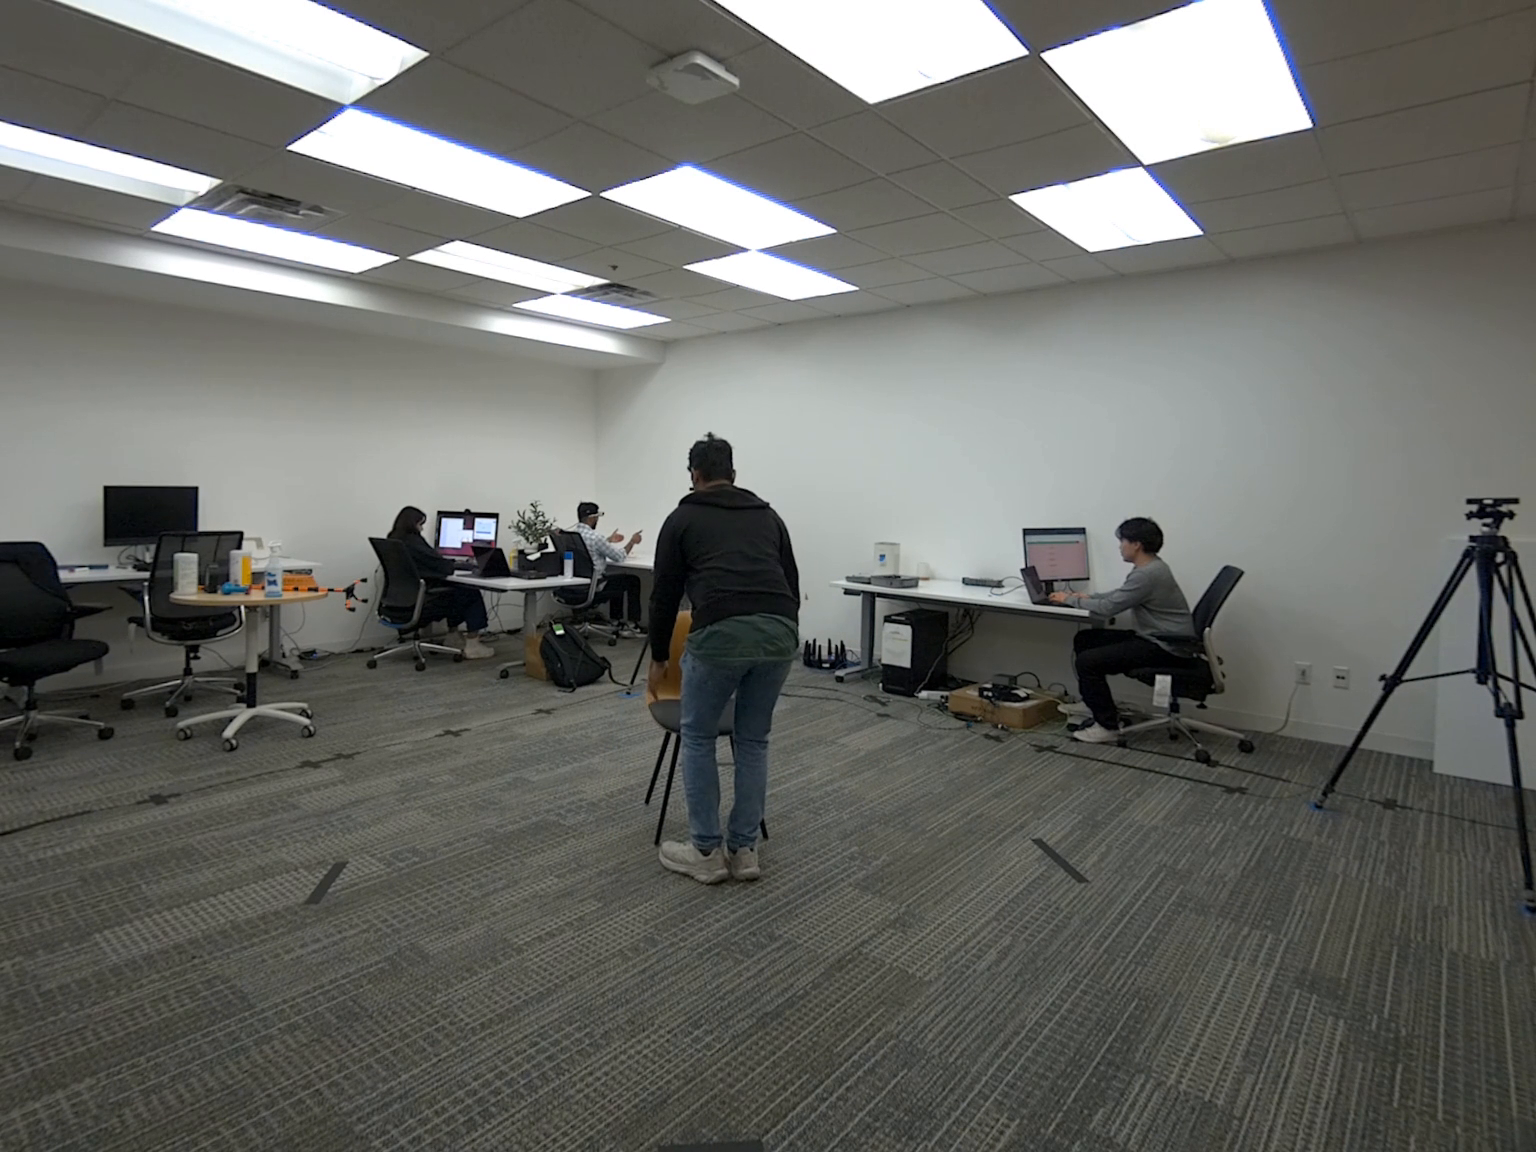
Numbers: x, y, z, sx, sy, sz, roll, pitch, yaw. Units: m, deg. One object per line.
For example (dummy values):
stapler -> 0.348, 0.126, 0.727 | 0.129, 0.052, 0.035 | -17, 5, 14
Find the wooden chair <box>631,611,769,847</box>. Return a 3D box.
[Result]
wooden chair -> -0.273, 0.591, 3.523 | 0.472, 0.879, 0.529 | 1, -1, -12
